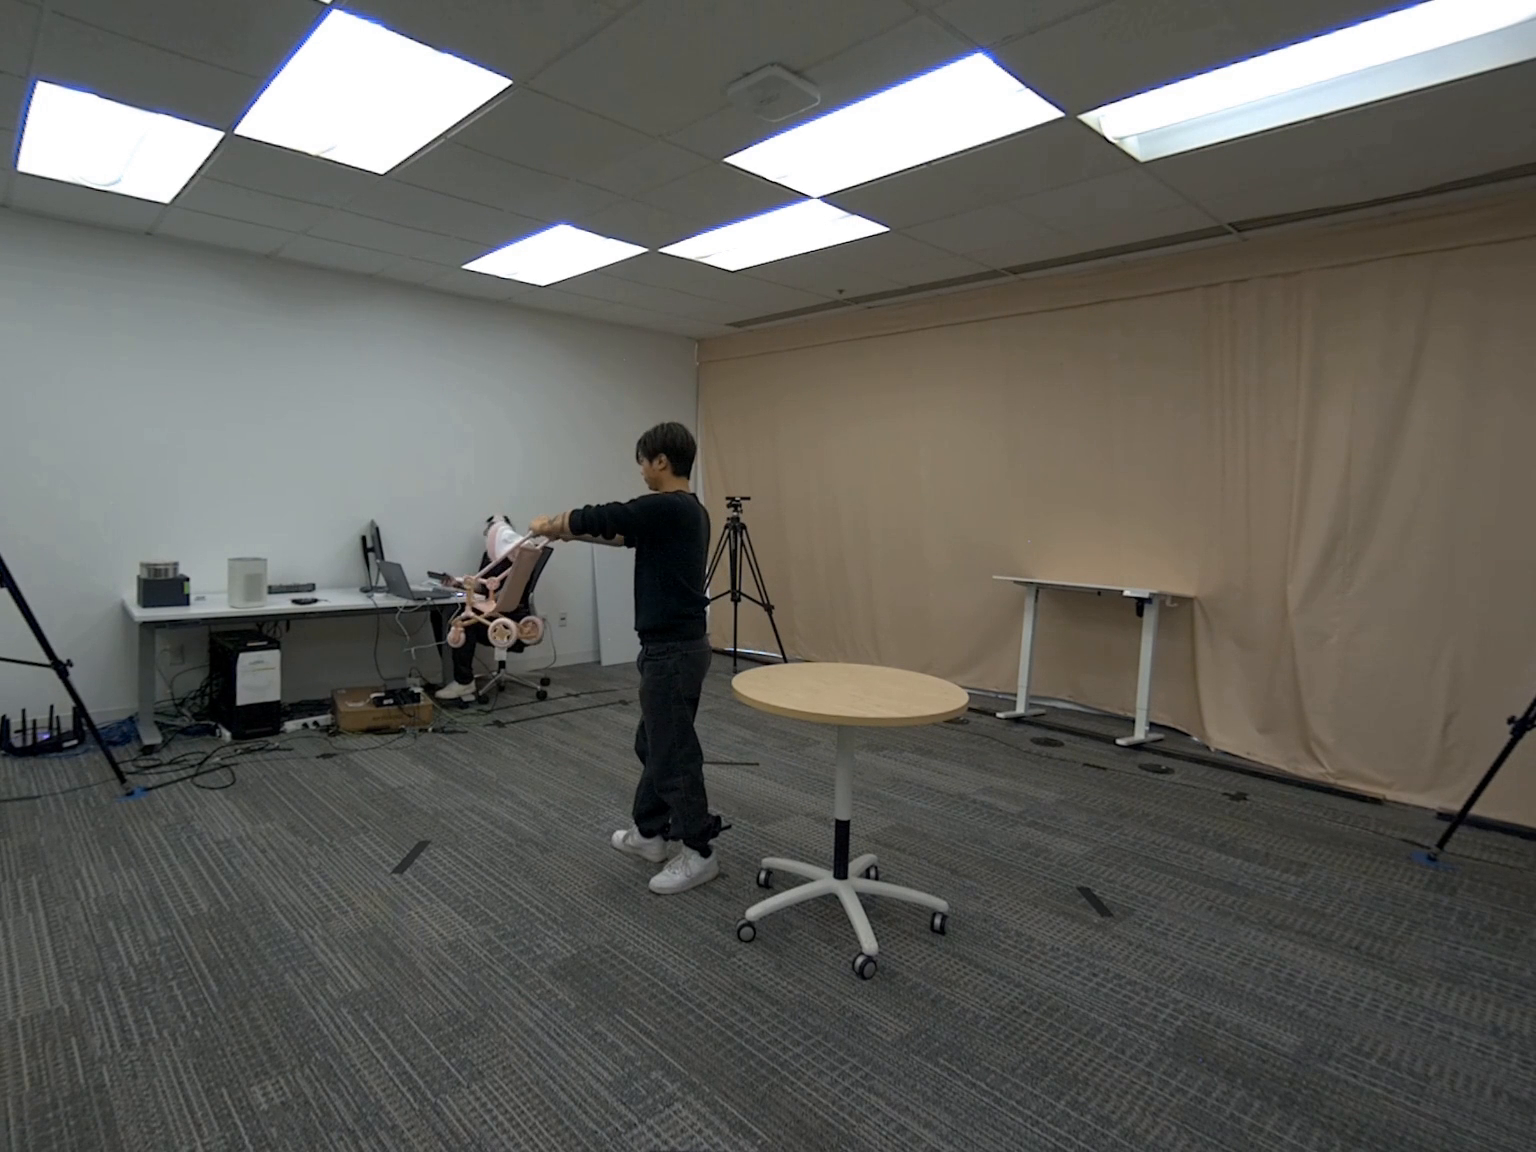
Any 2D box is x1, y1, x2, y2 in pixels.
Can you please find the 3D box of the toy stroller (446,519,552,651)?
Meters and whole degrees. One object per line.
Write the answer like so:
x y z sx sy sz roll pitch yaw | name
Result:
-1.012 0.041 3.182 0.346 0.535 0.277 11 -1 14 | toy stroller
